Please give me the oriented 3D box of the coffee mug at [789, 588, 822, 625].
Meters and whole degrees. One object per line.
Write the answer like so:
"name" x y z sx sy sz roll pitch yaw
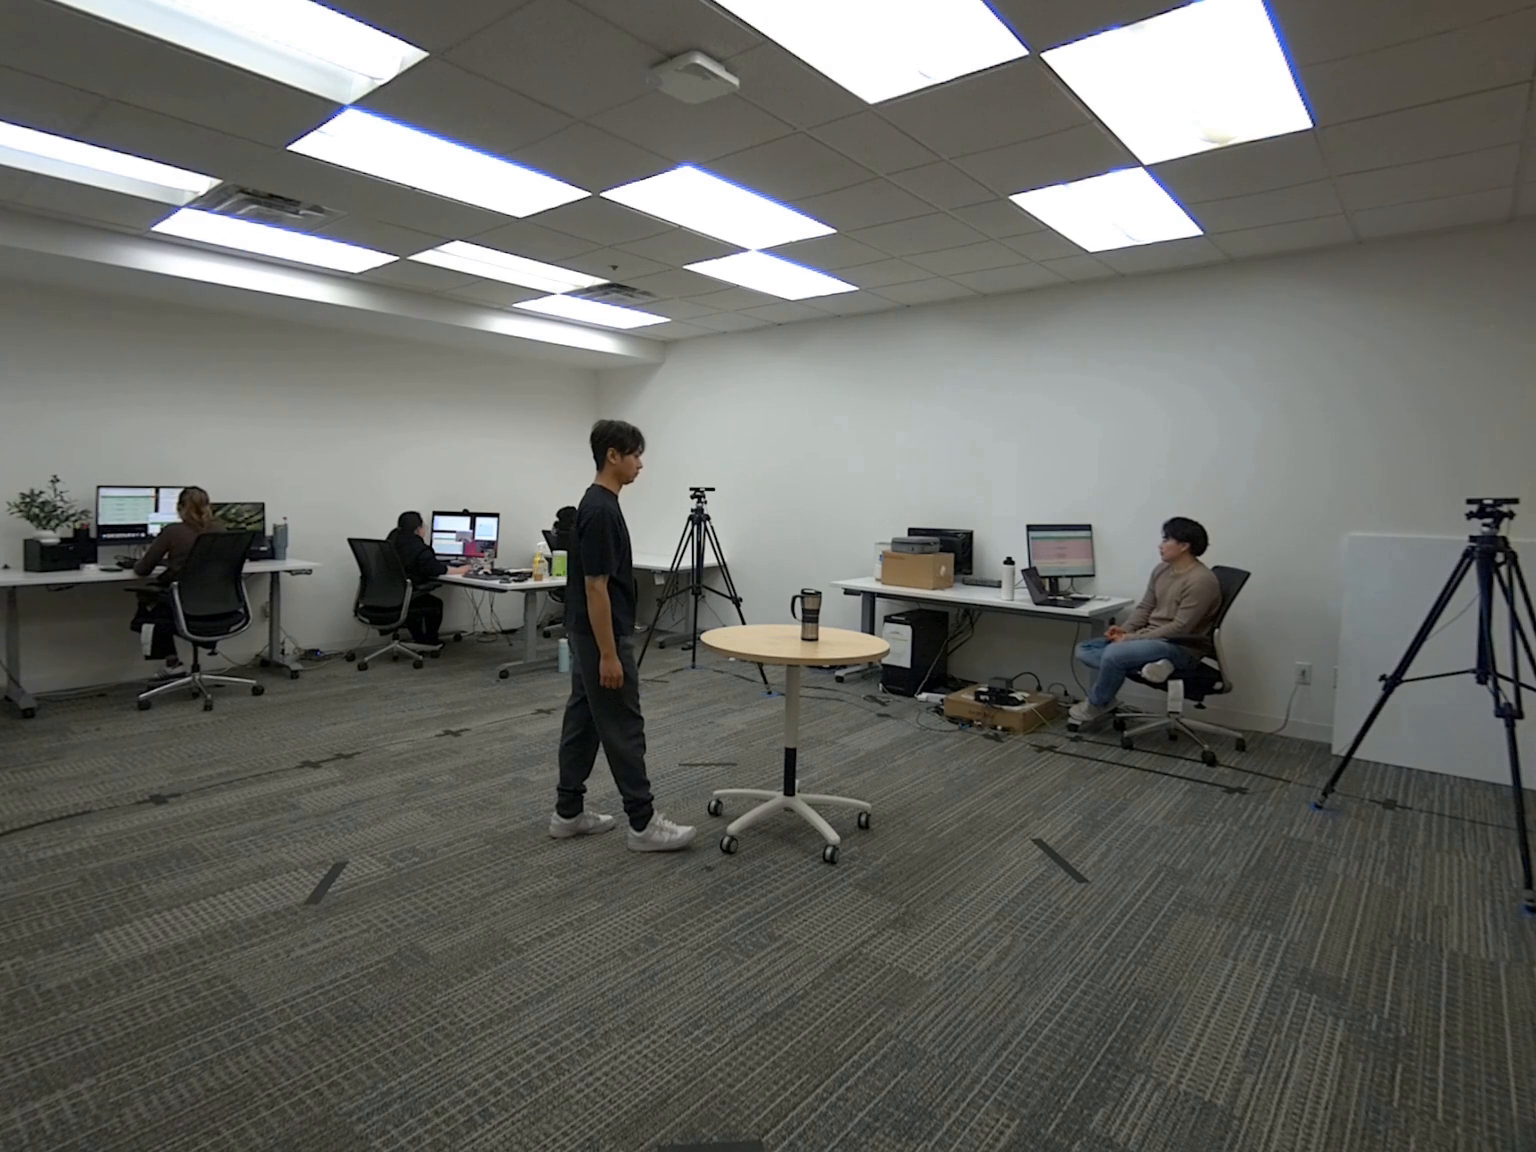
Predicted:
"coffee mug" 0.146 0.158 3.471 0.126 0.201 0.086 8 10 33
